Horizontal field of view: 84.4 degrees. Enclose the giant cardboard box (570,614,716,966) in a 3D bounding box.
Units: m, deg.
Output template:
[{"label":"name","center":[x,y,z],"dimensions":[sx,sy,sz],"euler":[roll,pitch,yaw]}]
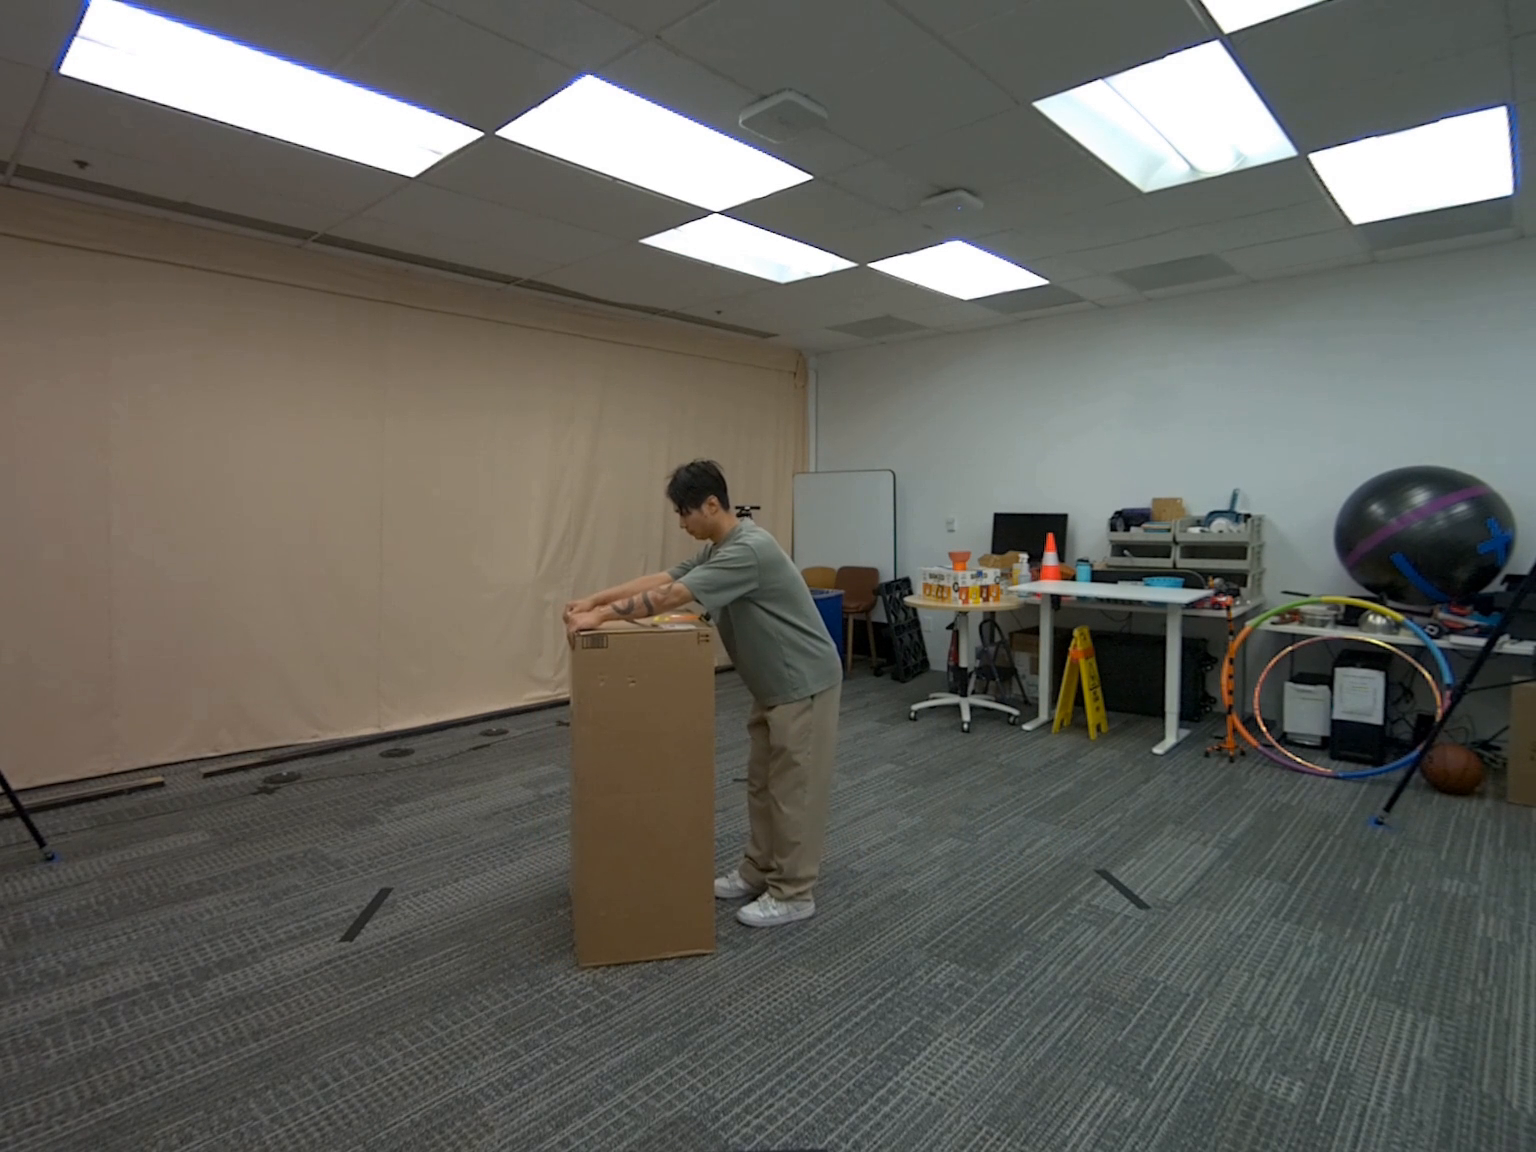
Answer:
[{"label":"giant cardboard box","center":[-0.442,0.651,2.829],"dimensions":[0.420,1.023,0.587],"euler":[-1,4,-14]}]
